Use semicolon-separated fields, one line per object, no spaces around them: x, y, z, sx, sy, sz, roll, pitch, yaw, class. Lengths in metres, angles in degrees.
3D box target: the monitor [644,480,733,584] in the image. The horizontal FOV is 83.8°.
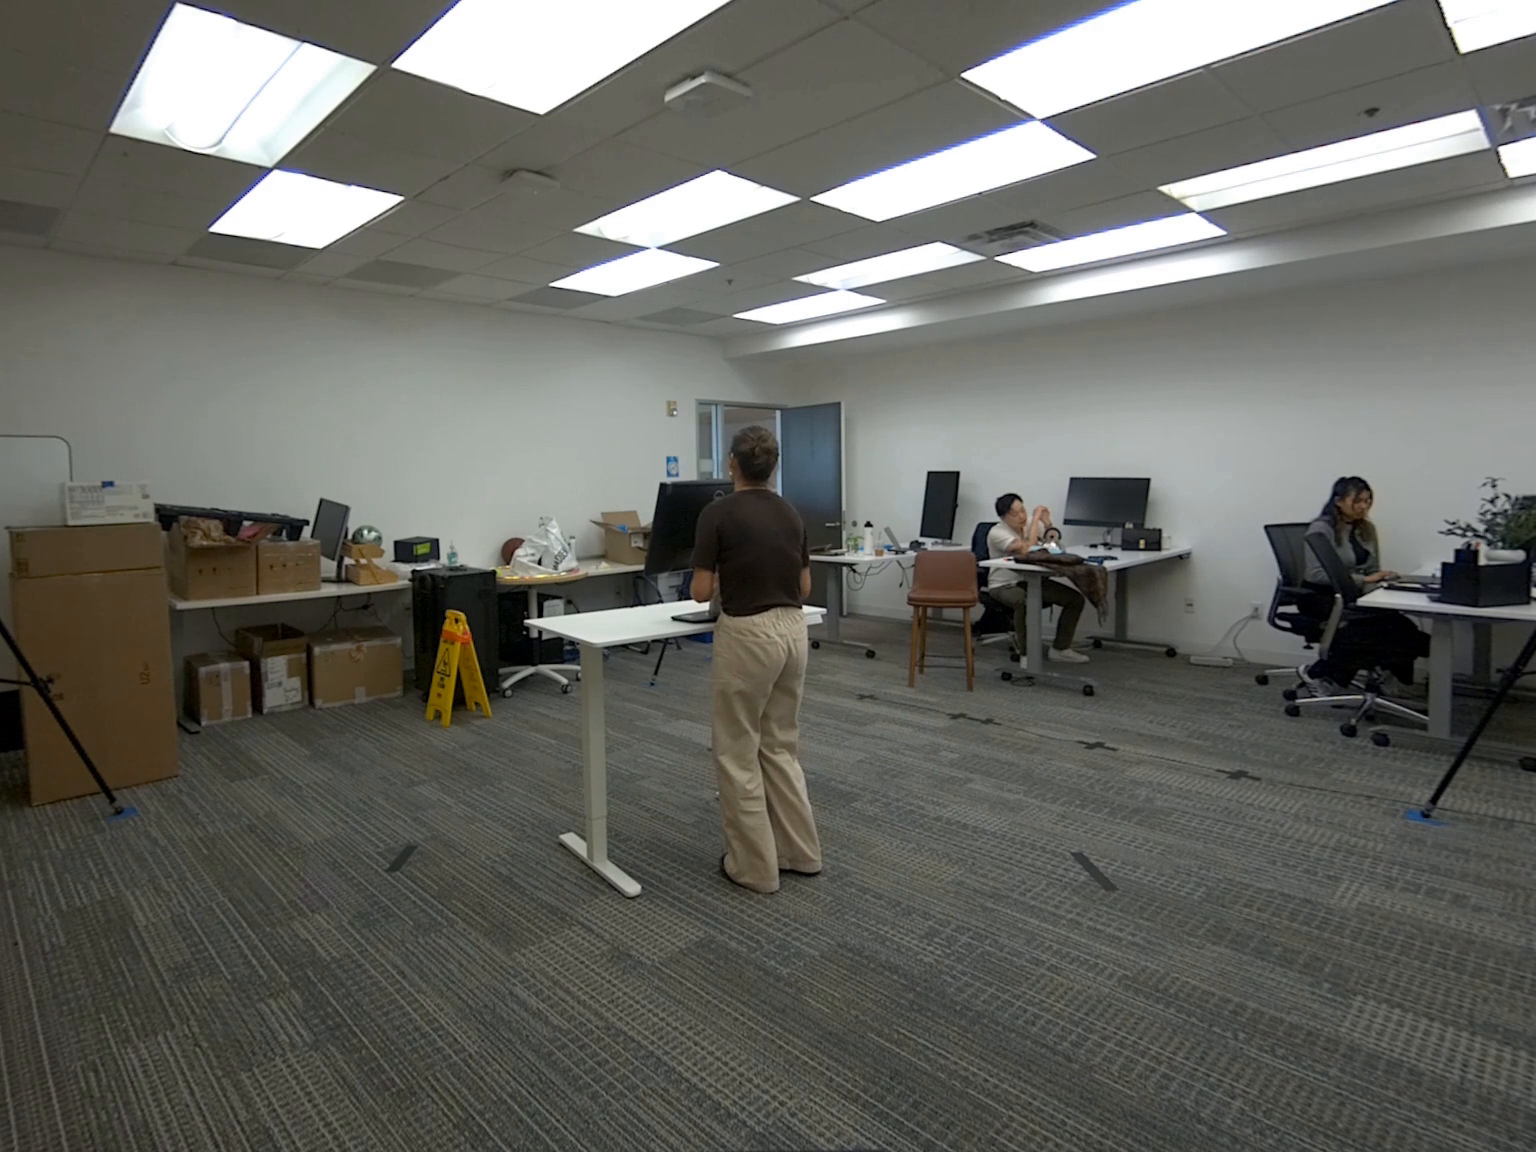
-0.205;-0.095;3.164;0.193;0.519;0.526;6;10;39;monitor
